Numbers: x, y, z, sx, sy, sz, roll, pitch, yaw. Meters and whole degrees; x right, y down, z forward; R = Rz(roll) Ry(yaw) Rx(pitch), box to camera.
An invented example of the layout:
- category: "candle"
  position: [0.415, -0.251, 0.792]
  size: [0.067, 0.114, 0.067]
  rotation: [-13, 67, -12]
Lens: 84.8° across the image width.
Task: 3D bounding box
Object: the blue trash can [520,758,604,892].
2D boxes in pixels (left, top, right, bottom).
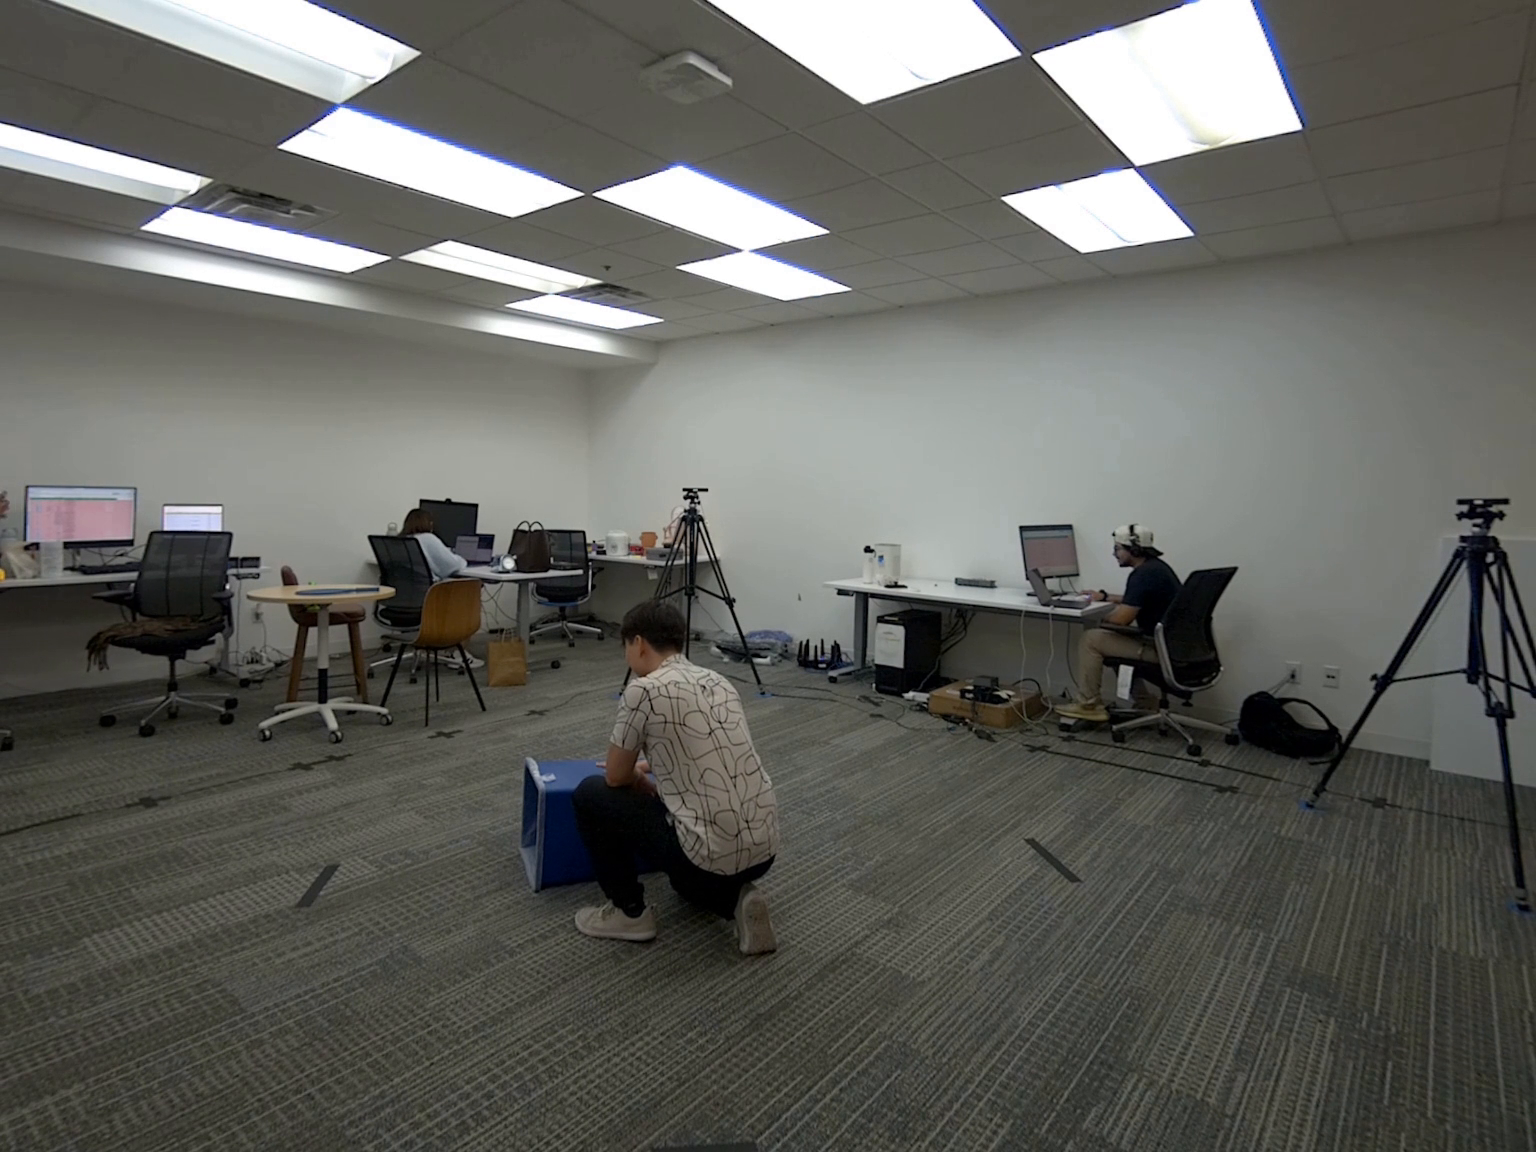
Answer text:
- category: "blue trash can"
  position: [-0.546, 0.888, 3.176]
  size: [0.698, 0.373, 0.388]
  rotation: [3, 4, -22]
